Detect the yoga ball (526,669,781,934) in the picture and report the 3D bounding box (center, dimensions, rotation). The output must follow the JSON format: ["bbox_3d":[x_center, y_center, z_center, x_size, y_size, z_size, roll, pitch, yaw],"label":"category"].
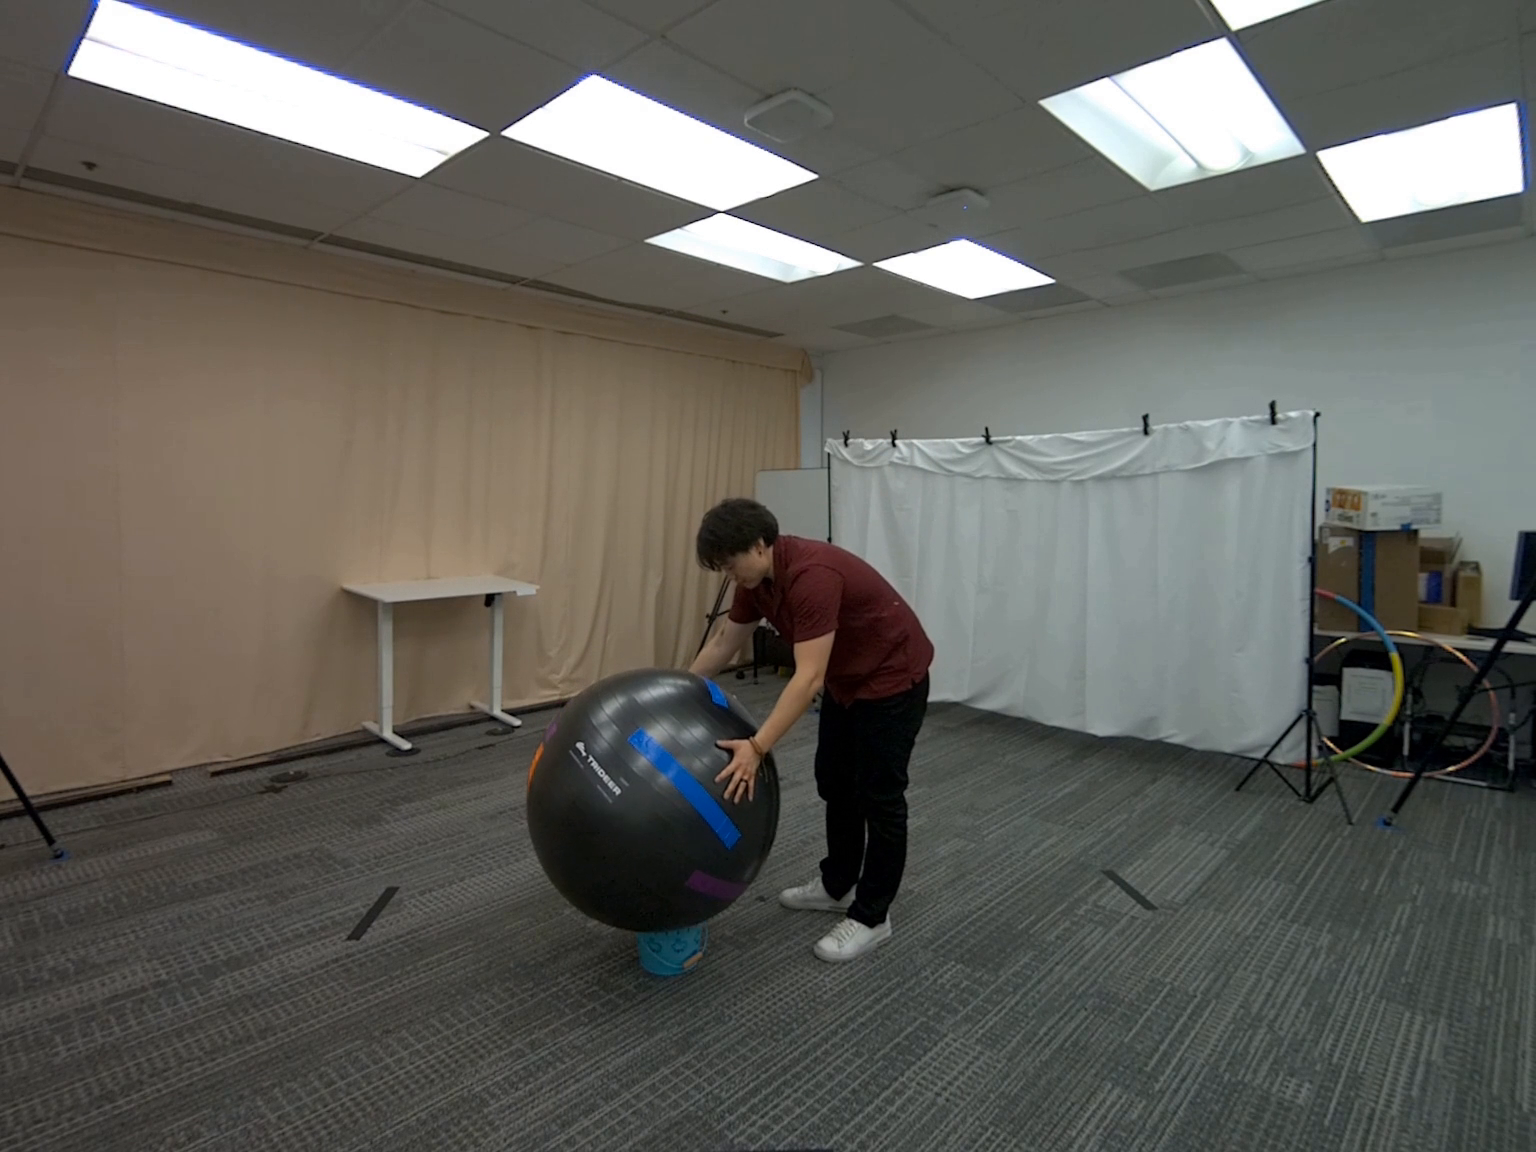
[{"bbox_3d":[-0.342,0.662,2.538,0.757,0.756,0.760,0,4,-2],"label":"yoga ball"}]
